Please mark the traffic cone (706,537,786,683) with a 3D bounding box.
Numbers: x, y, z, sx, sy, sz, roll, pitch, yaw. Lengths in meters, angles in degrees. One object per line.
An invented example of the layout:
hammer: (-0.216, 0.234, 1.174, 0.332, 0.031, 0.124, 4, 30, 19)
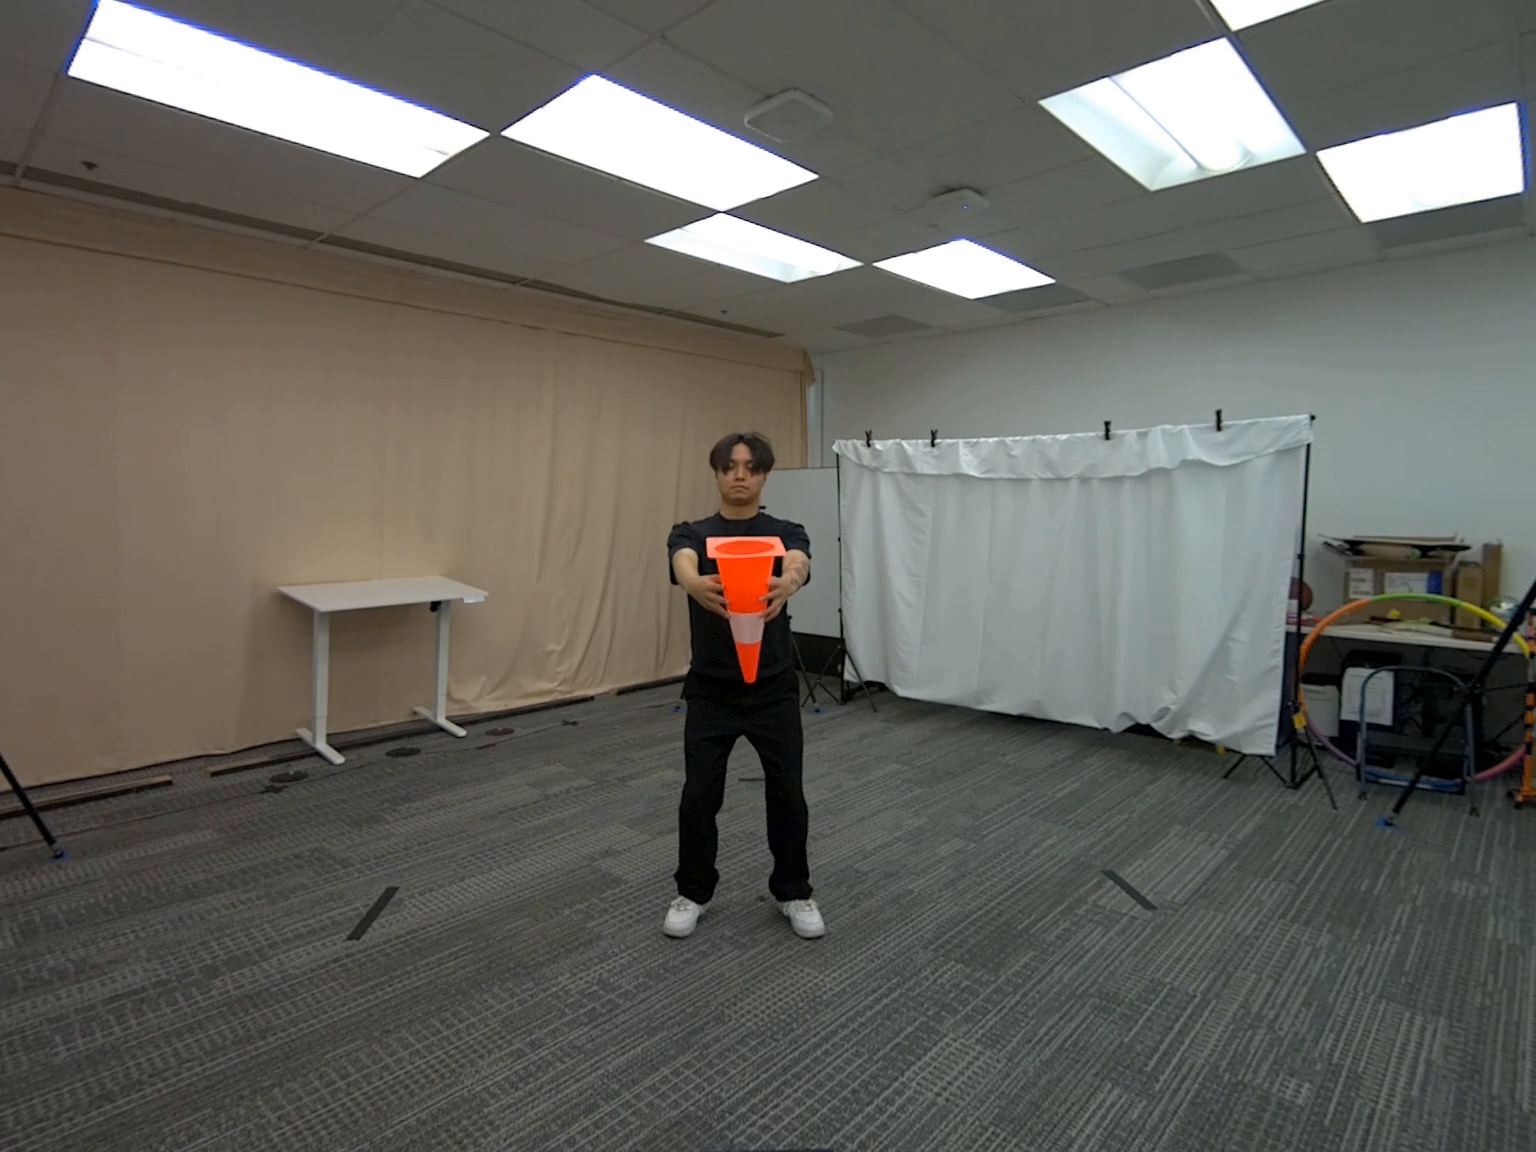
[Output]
traffic cone: (-0.063, 0.111, 2.239, 0.206, 0.381, 0.203, 5, 14, 5)
